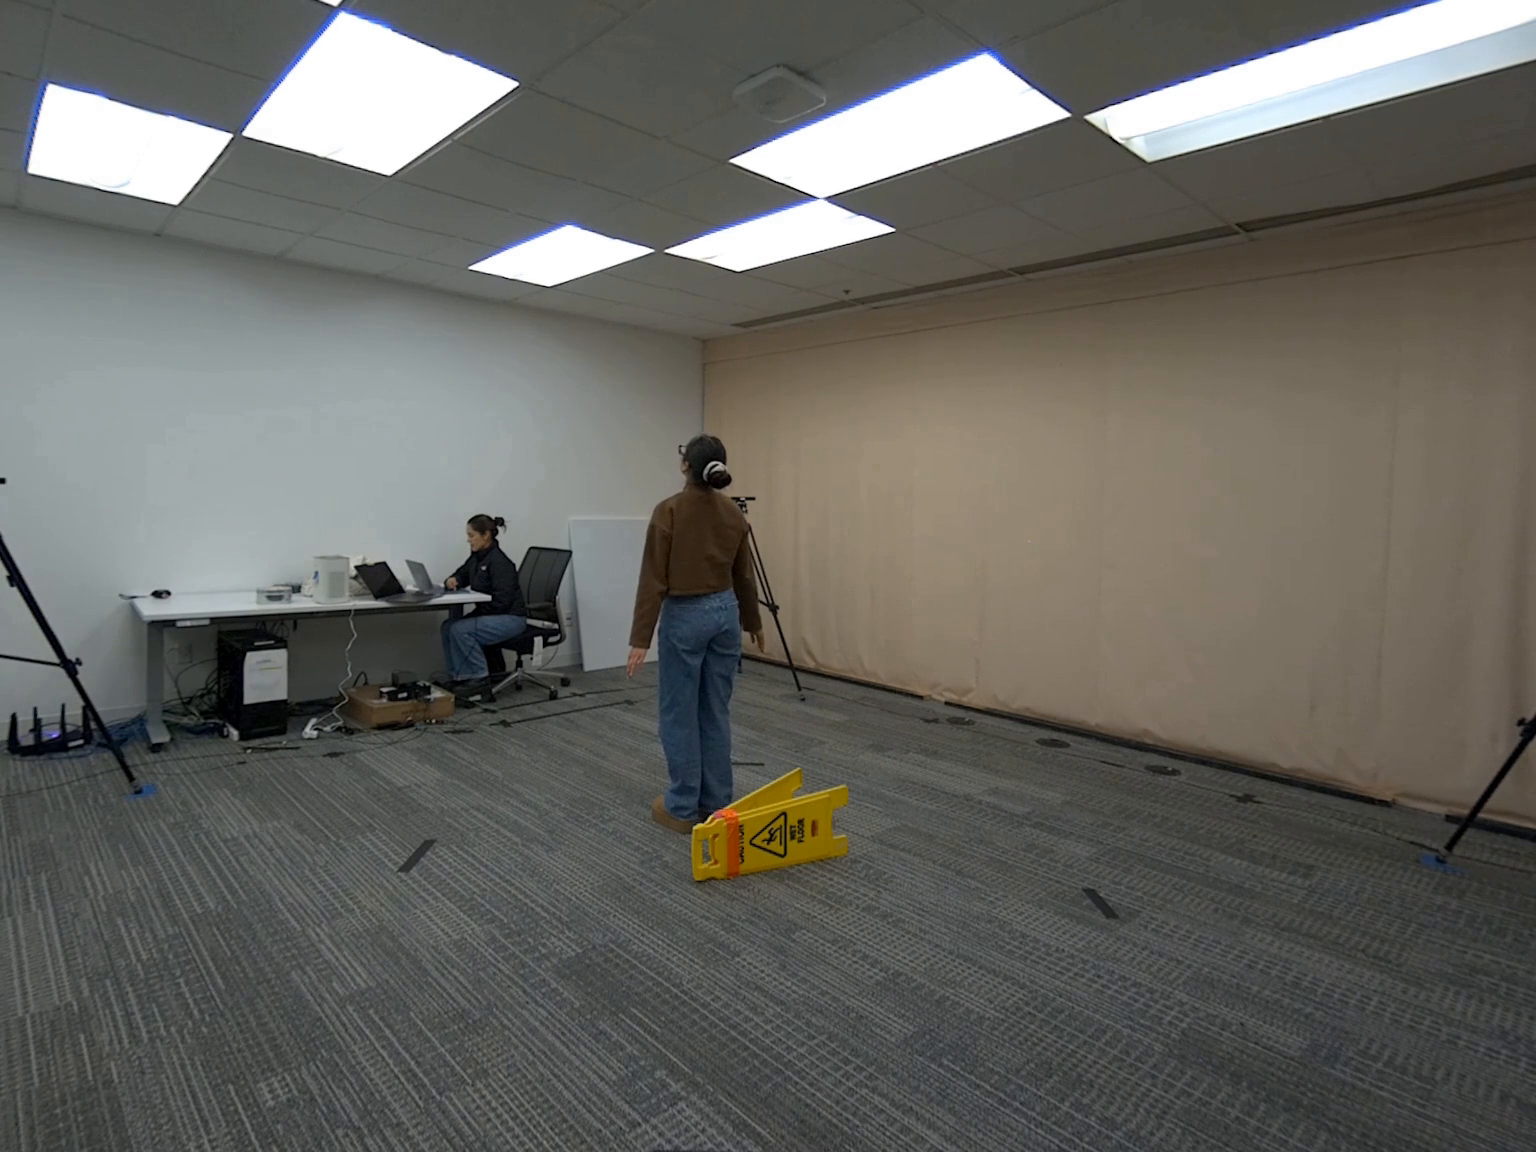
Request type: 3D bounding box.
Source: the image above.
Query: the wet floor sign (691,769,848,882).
[{"bbox_3d":[-0.022,0.974,3.218,0.632,0.281,0.297,-6,7,-38],"label":"wet floor sign"}]
